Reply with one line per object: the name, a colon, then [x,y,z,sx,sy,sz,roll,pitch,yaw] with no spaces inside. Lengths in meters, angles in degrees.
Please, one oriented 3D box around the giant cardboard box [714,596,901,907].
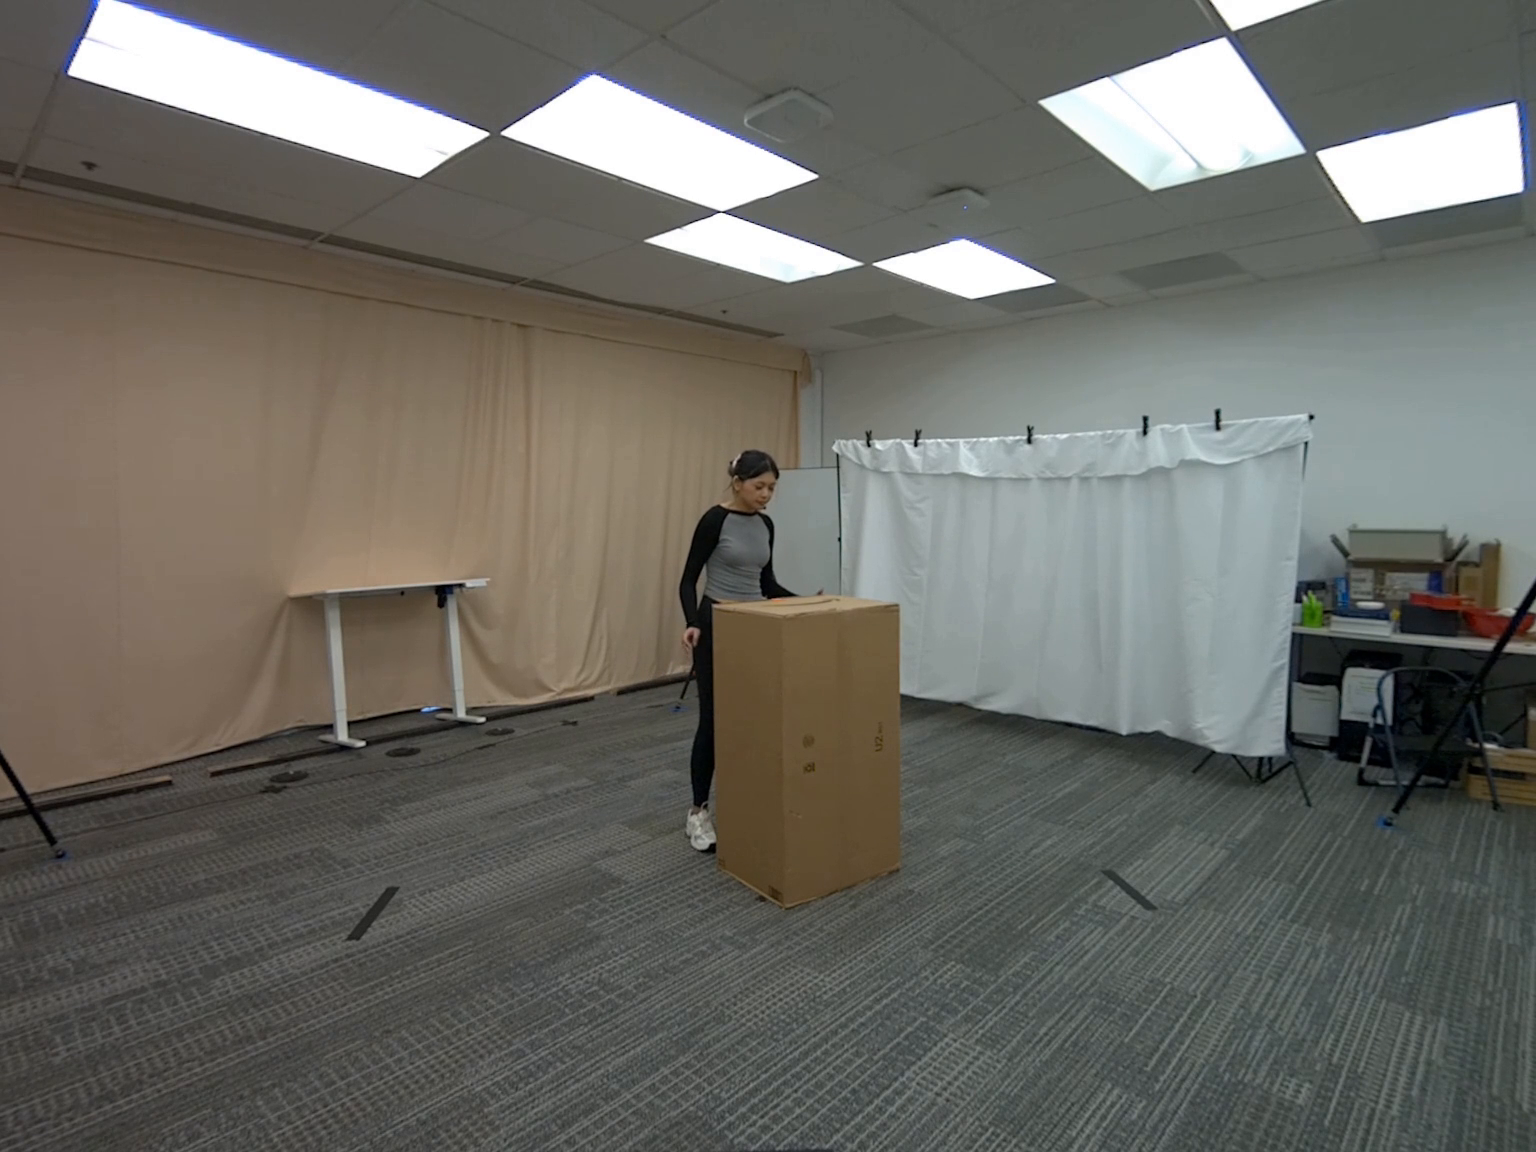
giant cardboard box: [0.152,0.616,3.210,0.567,1.025,0.461,-3,4,-37]
